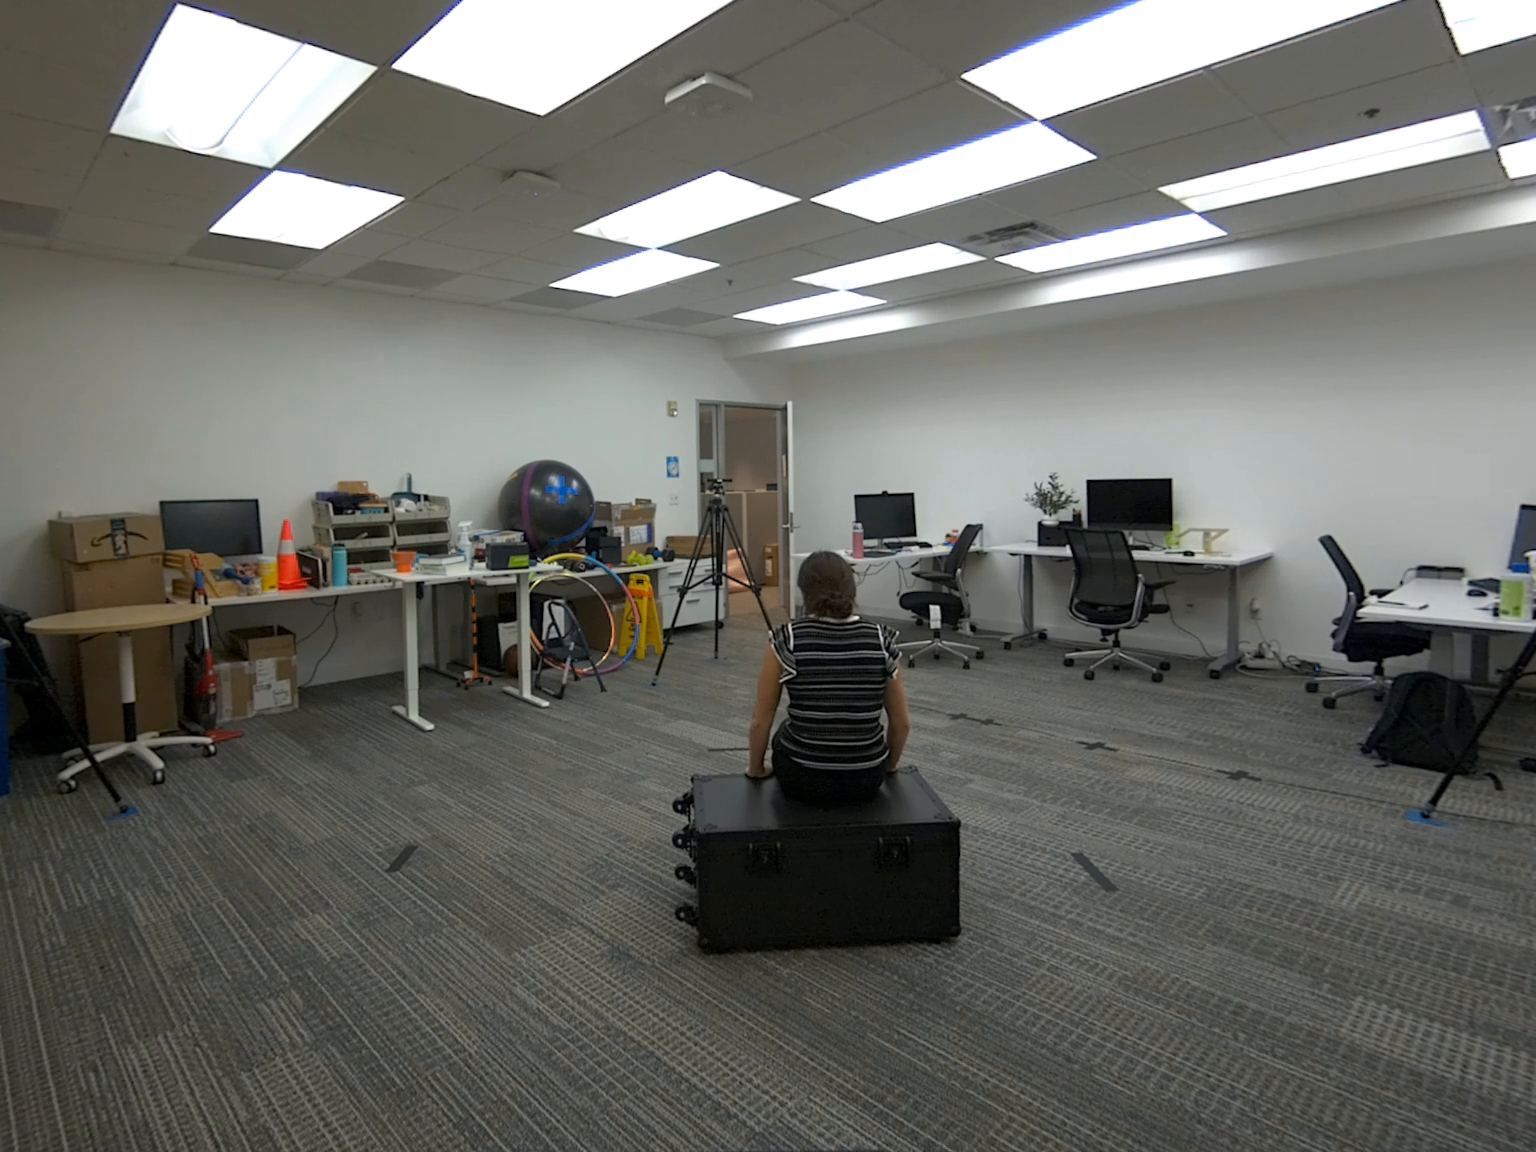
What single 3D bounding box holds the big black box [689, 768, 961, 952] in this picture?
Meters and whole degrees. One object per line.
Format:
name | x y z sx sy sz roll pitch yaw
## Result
big black box | 0.123 0.888 2.752 0.857 0.395 0.526 -2 5 -5
